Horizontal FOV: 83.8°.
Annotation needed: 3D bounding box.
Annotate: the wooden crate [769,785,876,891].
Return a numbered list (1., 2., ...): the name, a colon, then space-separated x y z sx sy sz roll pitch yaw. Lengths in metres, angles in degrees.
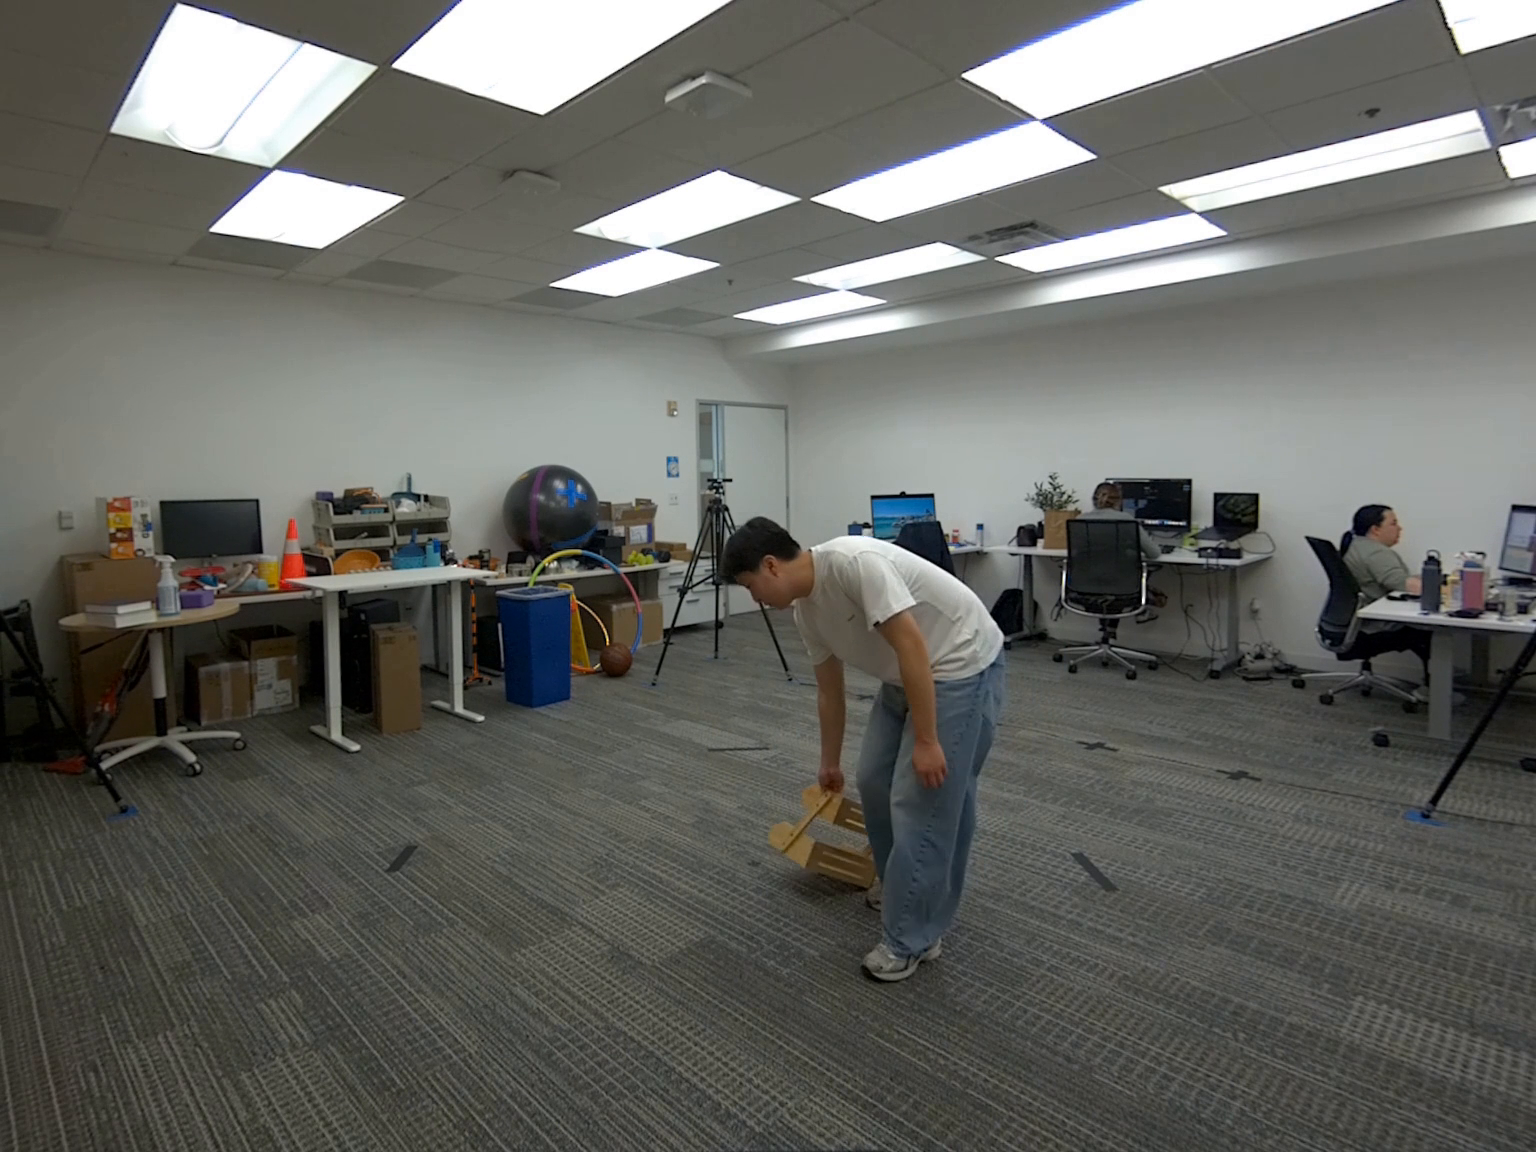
1. wooden crate: 0.237 0.869 2.937 0.314 0.274 0.310 28 -10 -29
